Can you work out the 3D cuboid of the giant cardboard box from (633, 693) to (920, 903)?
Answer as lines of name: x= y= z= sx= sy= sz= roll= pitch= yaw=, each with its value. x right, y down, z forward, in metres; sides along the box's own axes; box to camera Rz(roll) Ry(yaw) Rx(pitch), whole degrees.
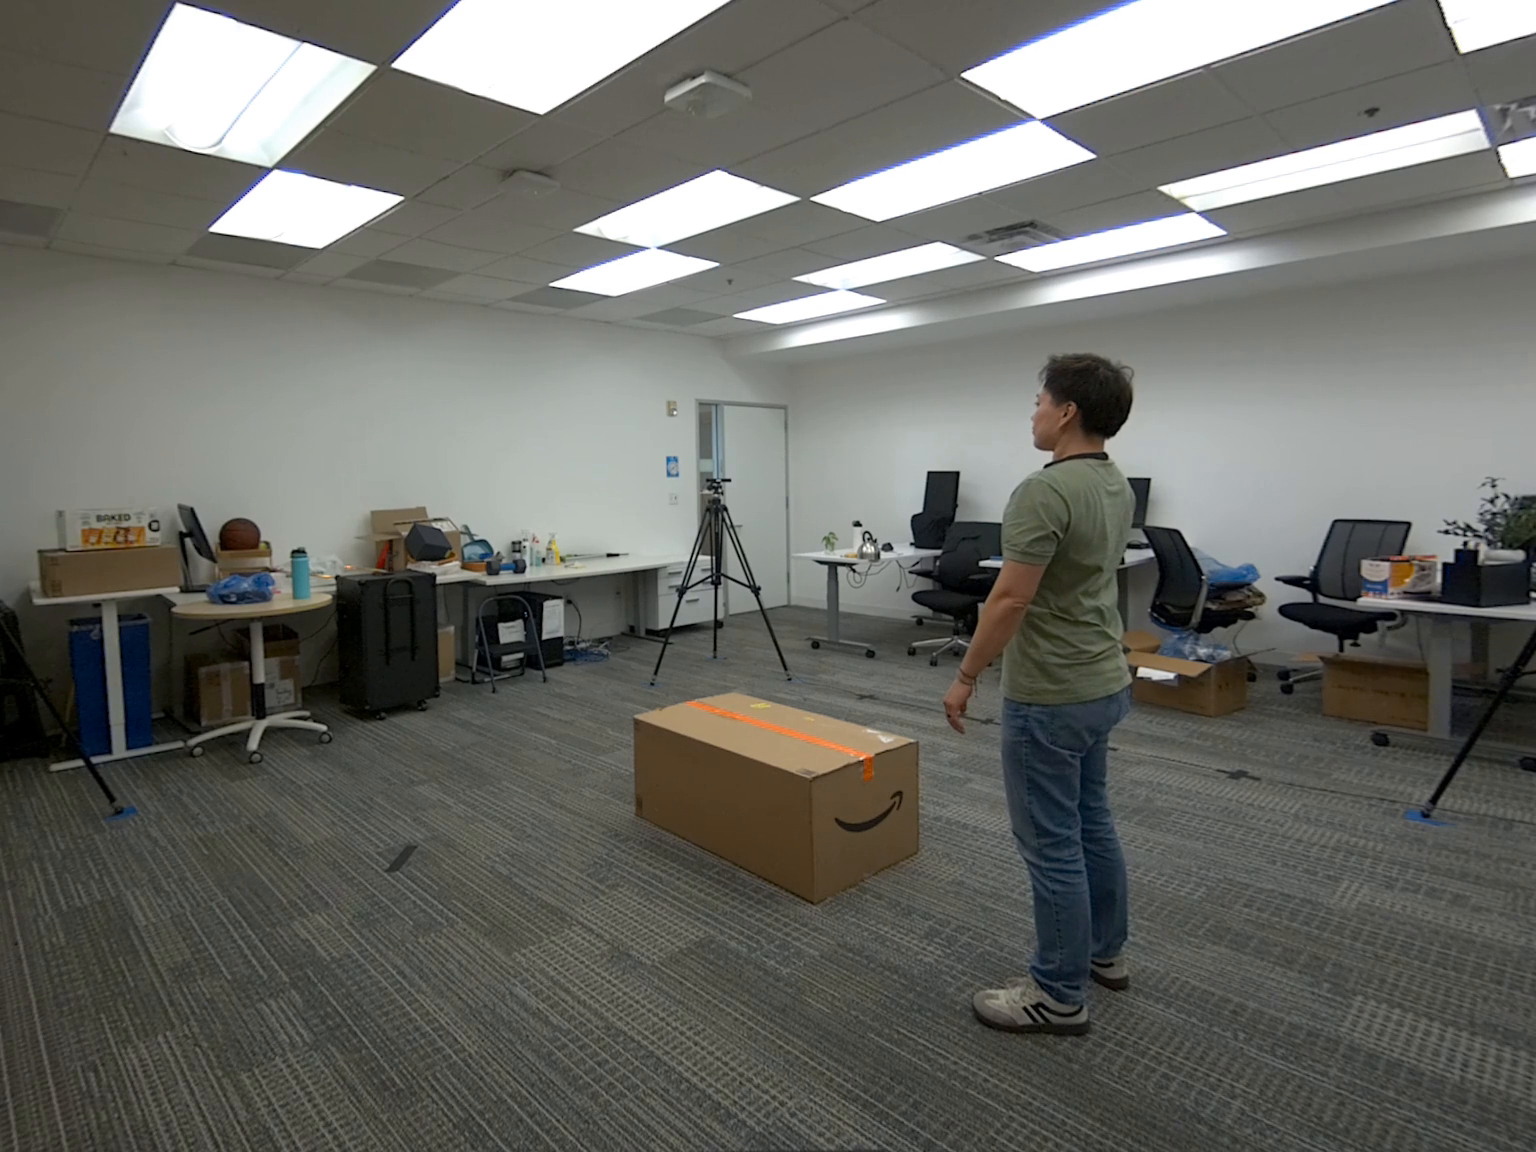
giant cardboard box: x=0.000 y=0.803 z=3.353 sx=0.562 sy=0.424 sz=1.058 roll=-5 pitch=7 yaw=-42
